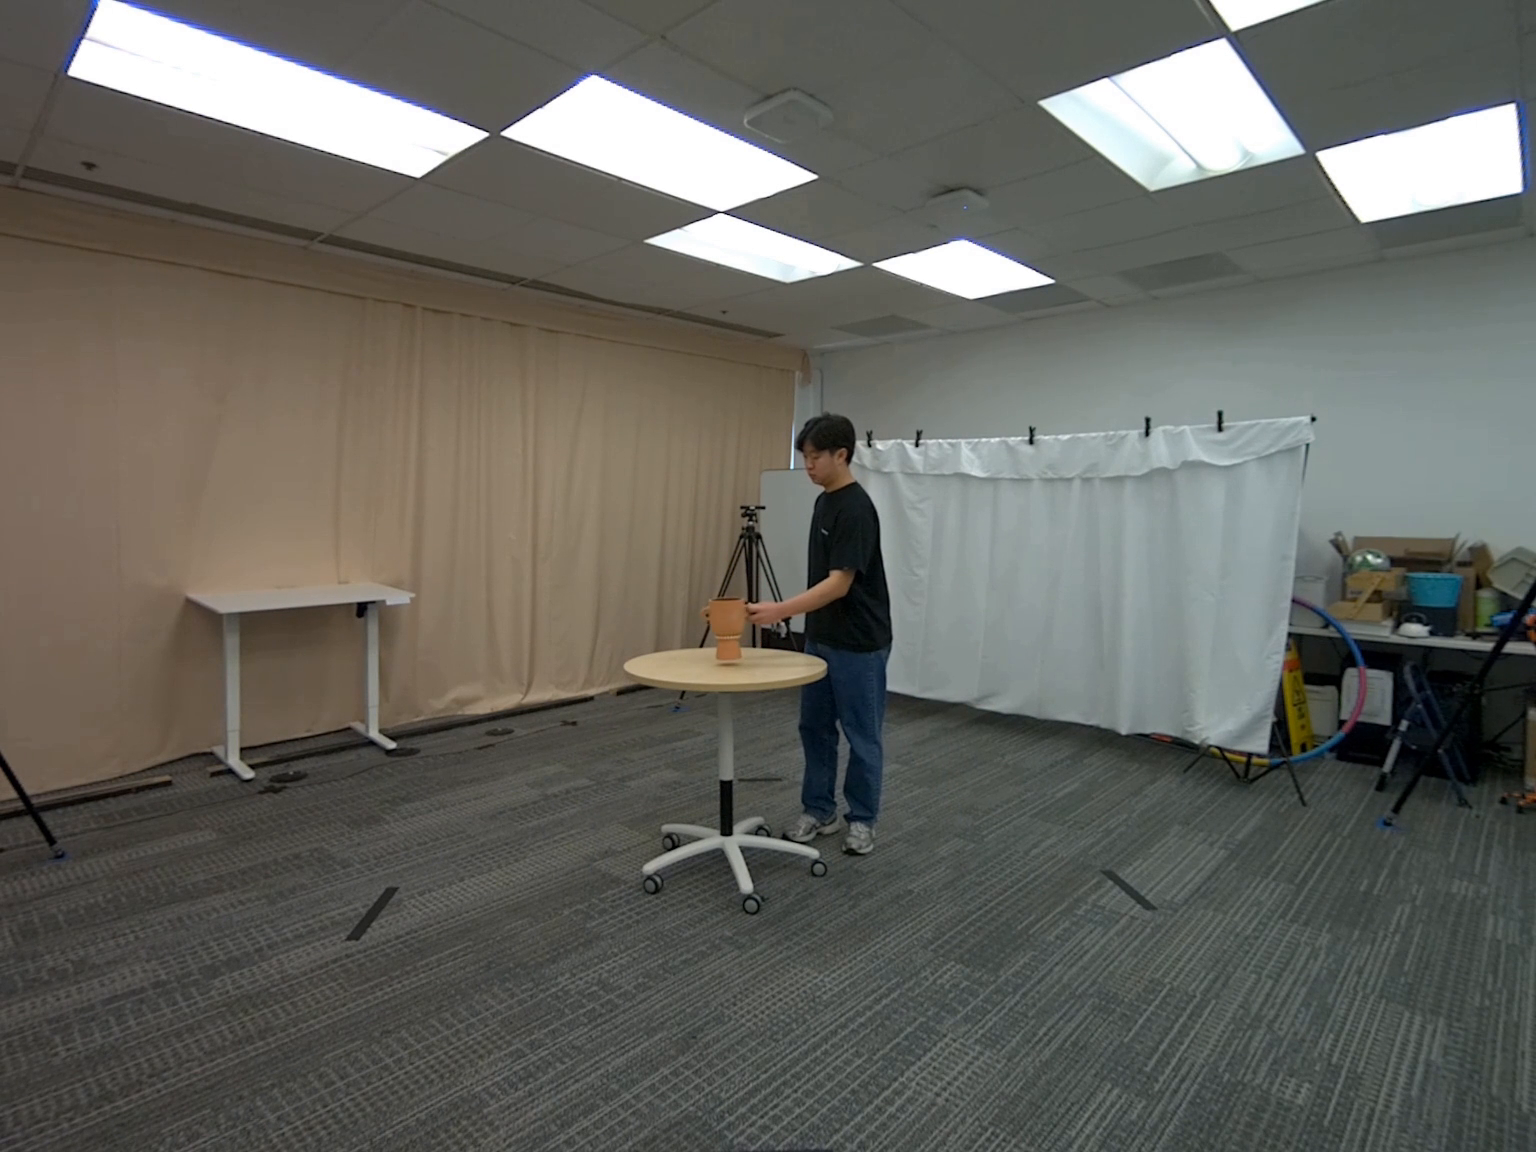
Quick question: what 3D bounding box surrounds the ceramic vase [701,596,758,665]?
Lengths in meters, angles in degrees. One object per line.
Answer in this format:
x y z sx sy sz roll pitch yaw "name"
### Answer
-0.143 0.197 3.135 0.163 0.219 0.131 2 5 31 "ceramic vase"
